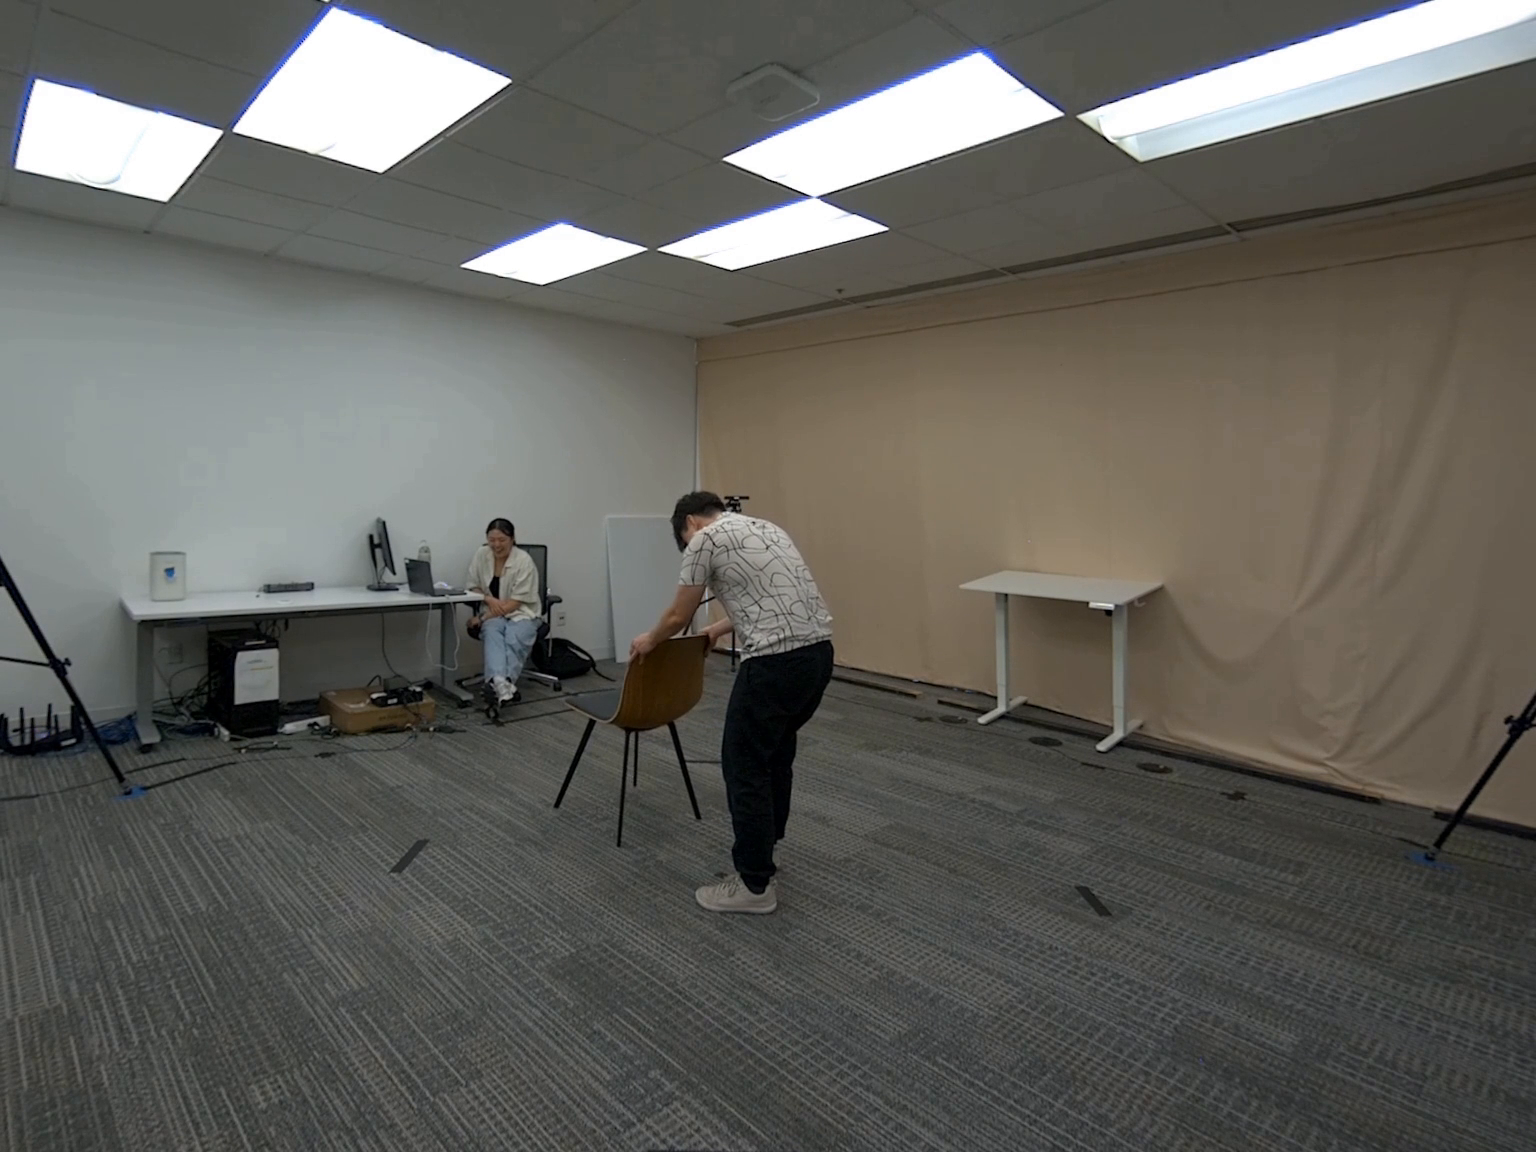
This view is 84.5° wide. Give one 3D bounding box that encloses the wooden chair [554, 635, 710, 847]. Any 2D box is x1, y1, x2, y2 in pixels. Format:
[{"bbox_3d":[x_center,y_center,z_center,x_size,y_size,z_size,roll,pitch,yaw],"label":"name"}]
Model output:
[{"bbox_3d":[-0.585,0.607,3.598,0.538,0.872,0.467,16,13,42],"label":"wooden chair"}]
